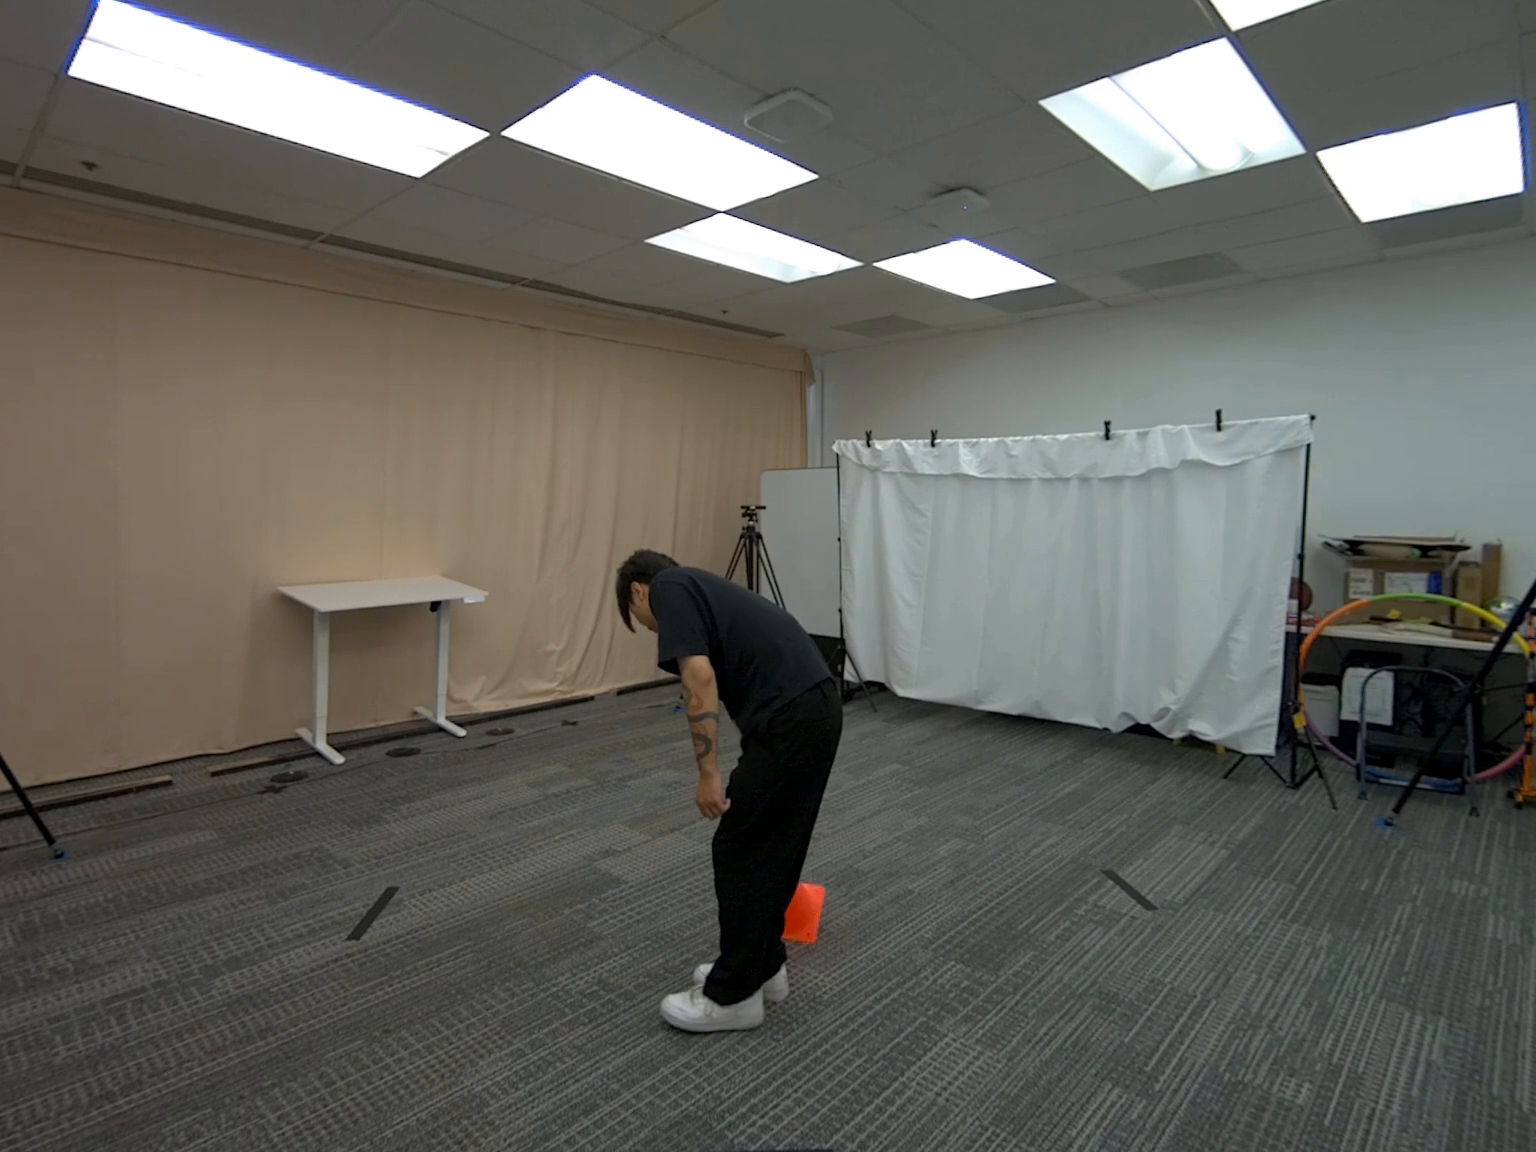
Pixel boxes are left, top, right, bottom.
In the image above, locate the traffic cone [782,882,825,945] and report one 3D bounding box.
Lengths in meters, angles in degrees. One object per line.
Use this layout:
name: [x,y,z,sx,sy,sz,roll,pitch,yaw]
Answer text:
traffic cone: [0.044,0.964,2.666,0.209,0.374,0.204,8,40,27]
